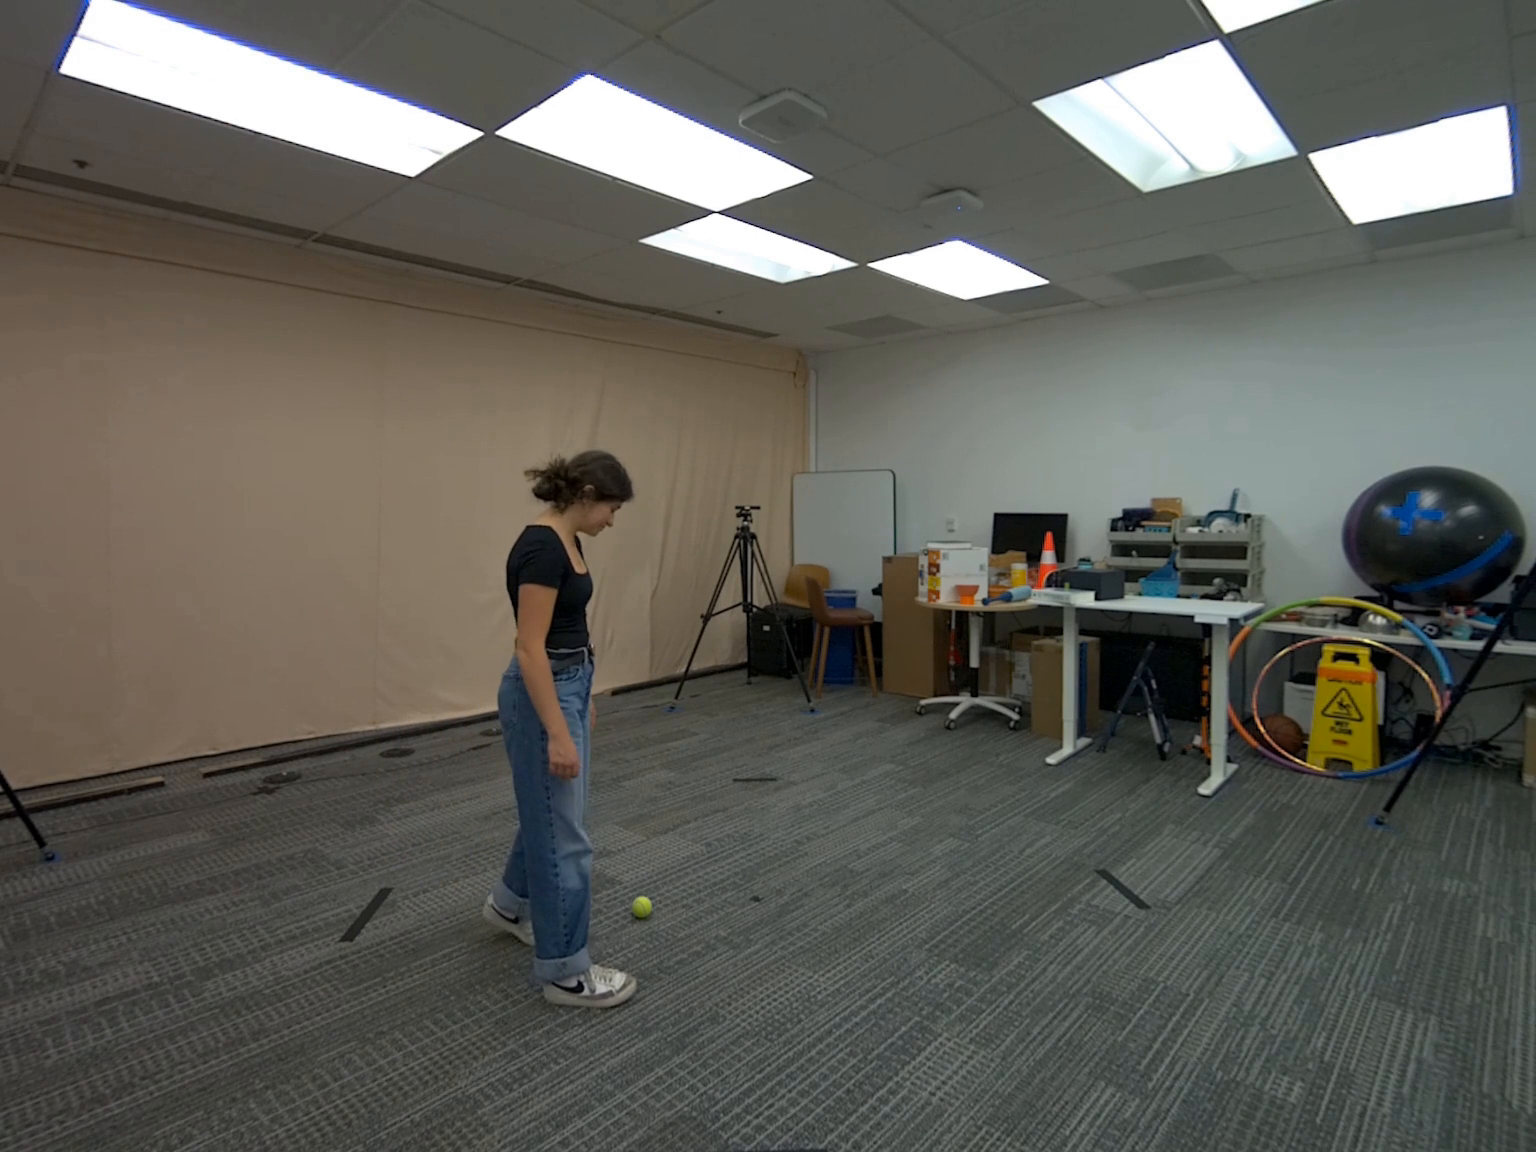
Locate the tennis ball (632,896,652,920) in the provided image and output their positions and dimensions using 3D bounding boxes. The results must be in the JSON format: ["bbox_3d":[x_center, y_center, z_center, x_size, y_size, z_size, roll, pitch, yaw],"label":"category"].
[{"bbox_3d":[-0.429,1.112,2.846,0.066,0.066,0.067,0,4,-2],"label":"tennis ball"}]
